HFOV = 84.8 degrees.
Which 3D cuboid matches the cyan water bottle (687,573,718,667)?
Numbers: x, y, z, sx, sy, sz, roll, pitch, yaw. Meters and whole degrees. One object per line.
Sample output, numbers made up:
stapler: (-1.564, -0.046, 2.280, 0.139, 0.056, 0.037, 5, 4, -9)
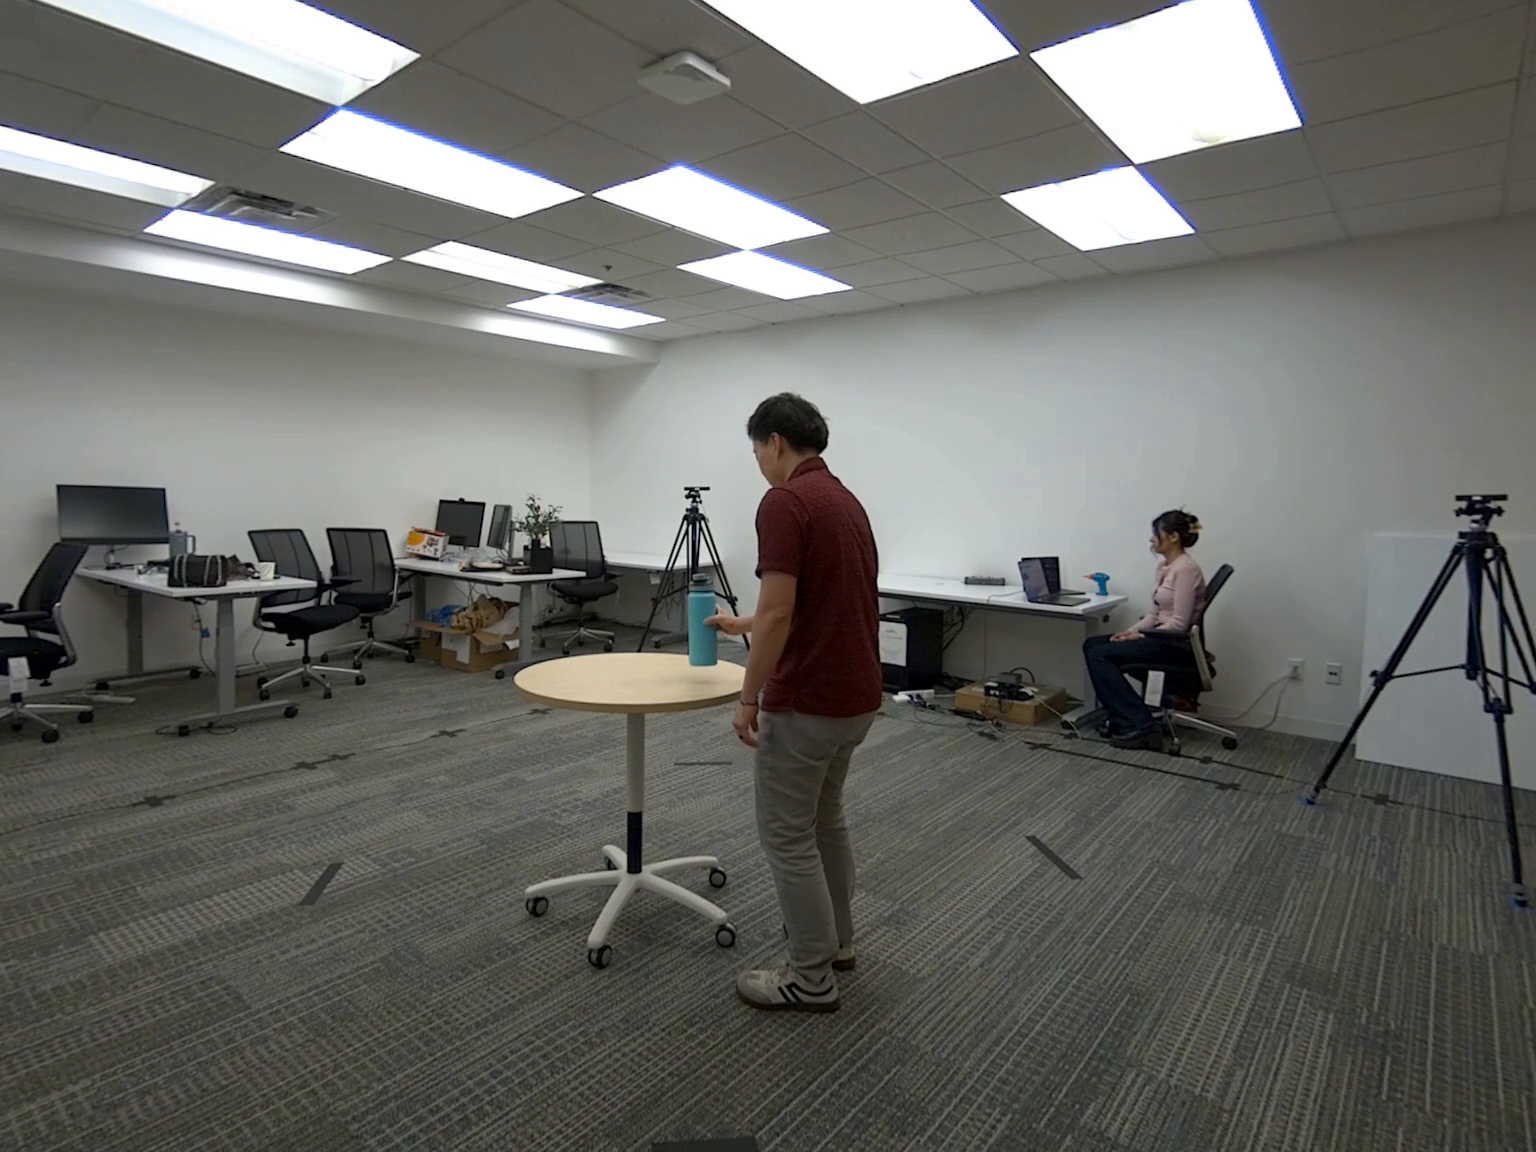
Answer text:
cyan water bottle: (-0.218, 0.129, 2.664, 0.092, 0.284, 0.092, -3, -2, -2)
